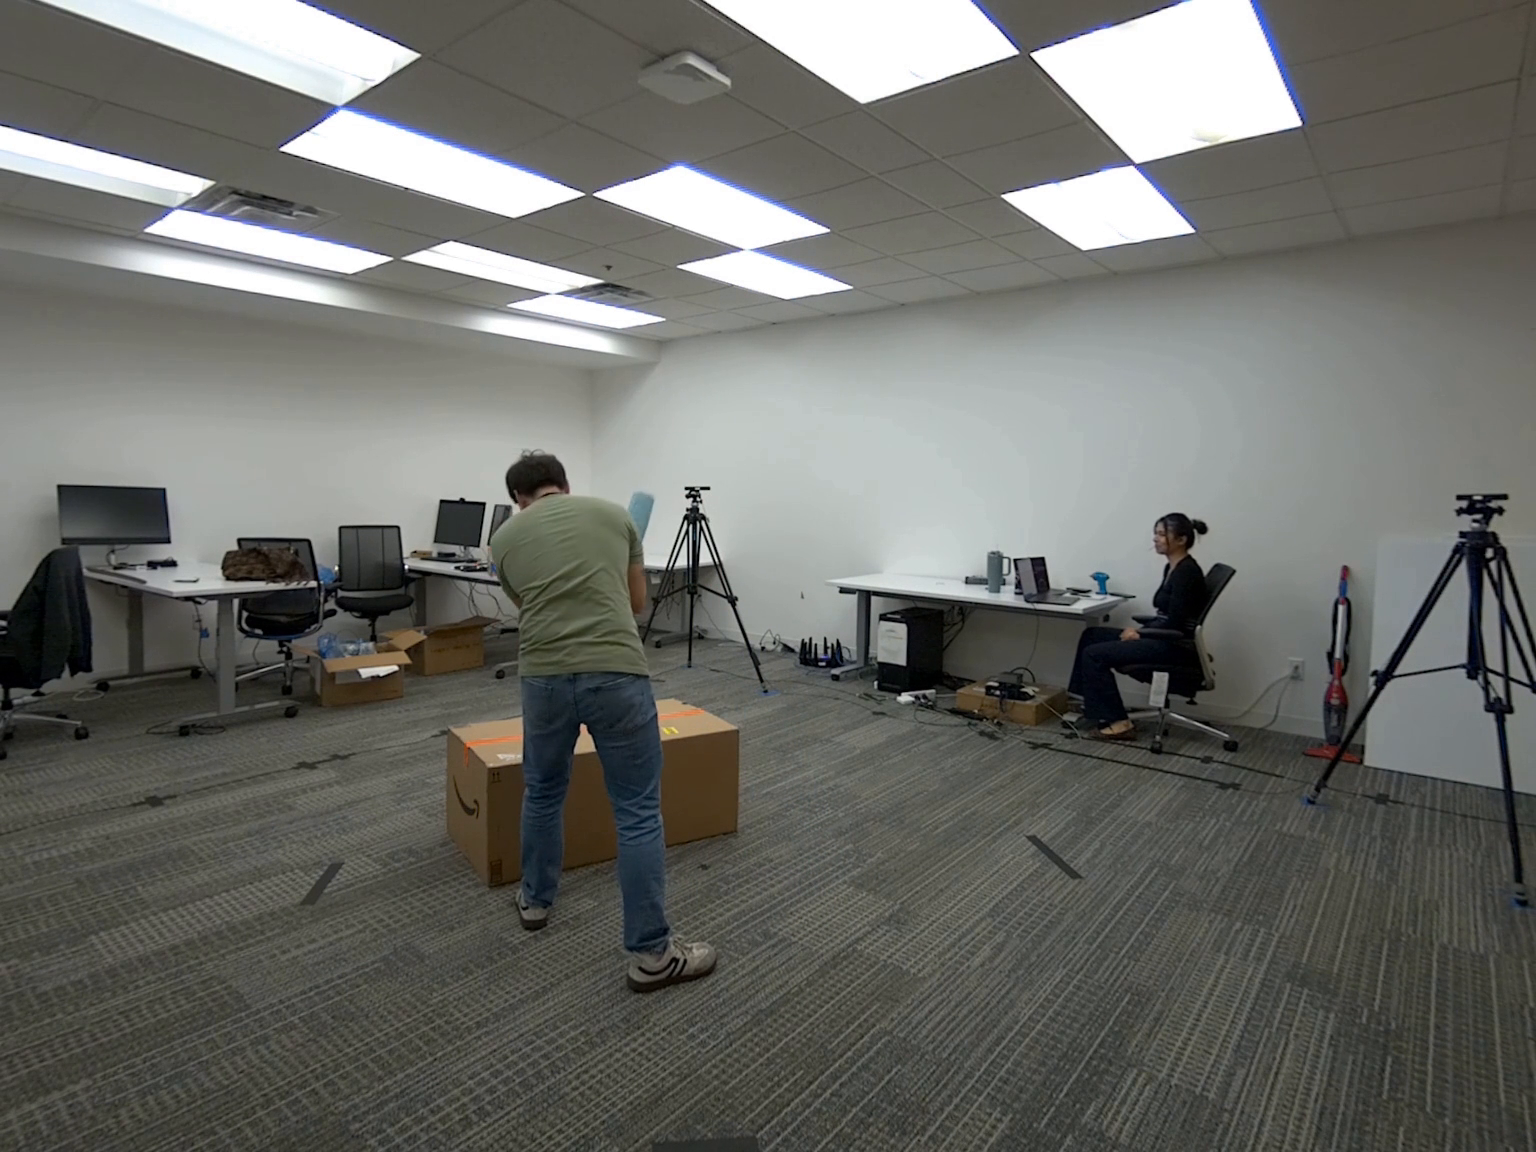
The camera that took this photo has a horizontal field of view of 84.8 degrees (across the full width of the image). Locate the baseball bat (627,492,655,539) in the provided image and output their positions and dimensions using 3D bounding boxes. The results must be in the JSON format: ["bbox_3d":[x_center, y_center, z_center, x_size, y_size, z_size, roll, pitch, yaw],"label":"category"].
[{"bbox_3d":[-0.531,-0.028,3.038,0.089,0.549,0.088,11,-16,1],"label":"baseball bat"}]
